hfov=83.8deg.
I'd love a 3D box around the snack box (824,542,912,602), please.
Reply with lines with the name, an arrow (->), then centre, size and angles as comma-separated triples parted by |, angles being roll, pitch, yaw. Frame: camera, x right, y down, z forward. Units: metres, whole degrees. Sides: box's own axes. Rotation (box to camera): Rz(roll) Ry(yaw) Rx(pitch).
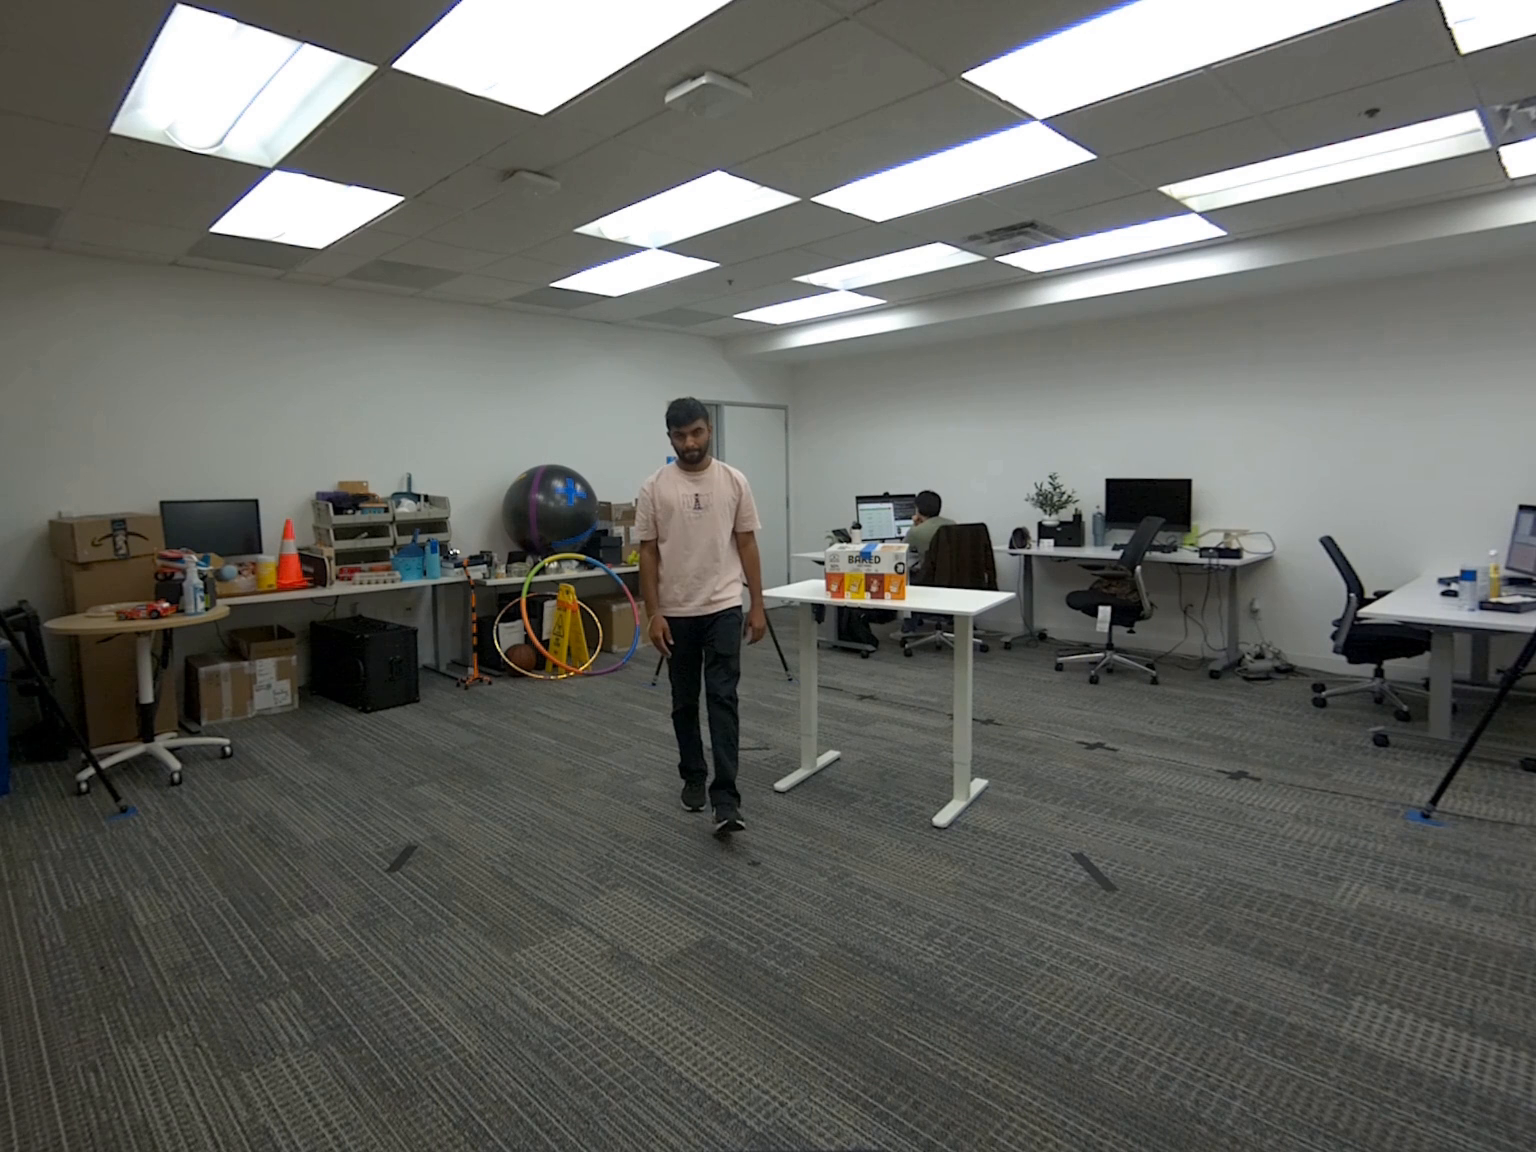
snack box -> 0.448, -0.029, 3.796 | 0.345, 0.205, 0.401 | 2, 6, 13
